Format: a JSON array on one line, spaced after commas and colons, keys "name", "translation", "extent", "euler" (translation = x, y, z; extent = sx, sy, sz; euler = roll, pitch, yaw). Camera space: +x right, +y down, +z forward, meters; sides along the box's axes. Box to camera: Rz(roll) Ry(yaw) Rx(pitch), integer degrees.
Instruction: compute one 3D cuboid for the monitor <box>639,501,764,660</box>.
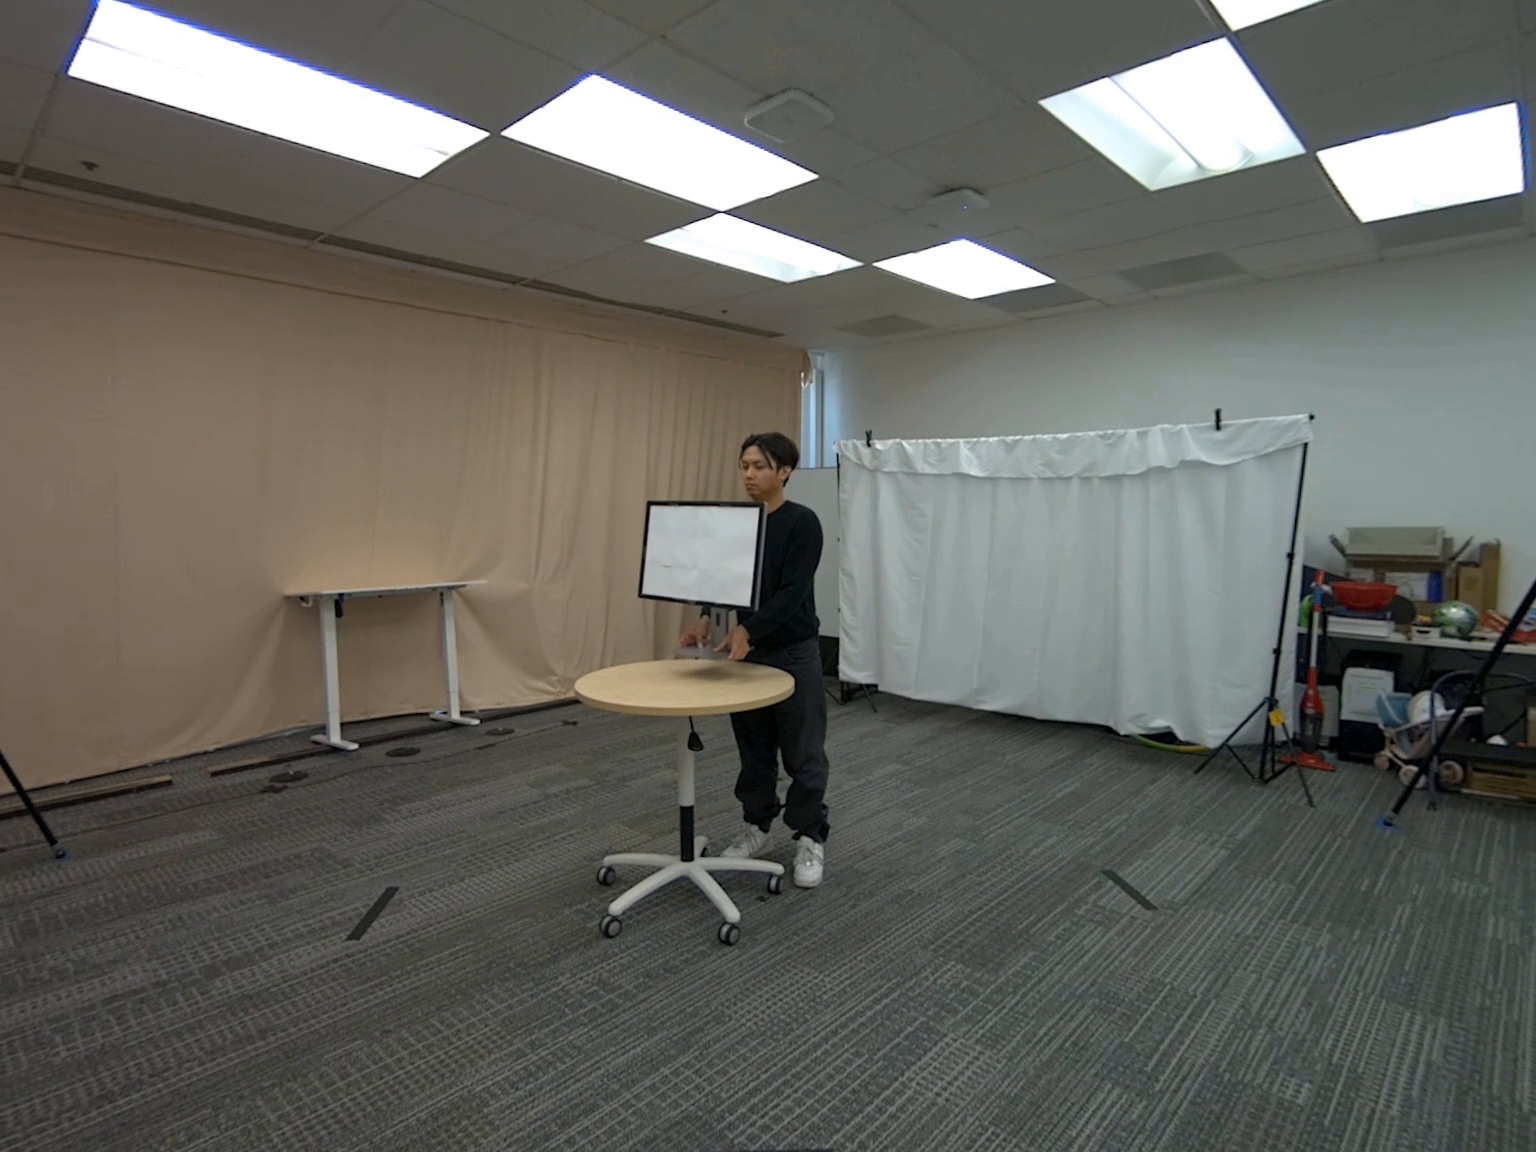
[{"name": "monitor", "translation": [-0.216, 0.004, 2.987], "extent": [0.557, 0.520, 0.182], "euler": [4, 9, 39]}]
